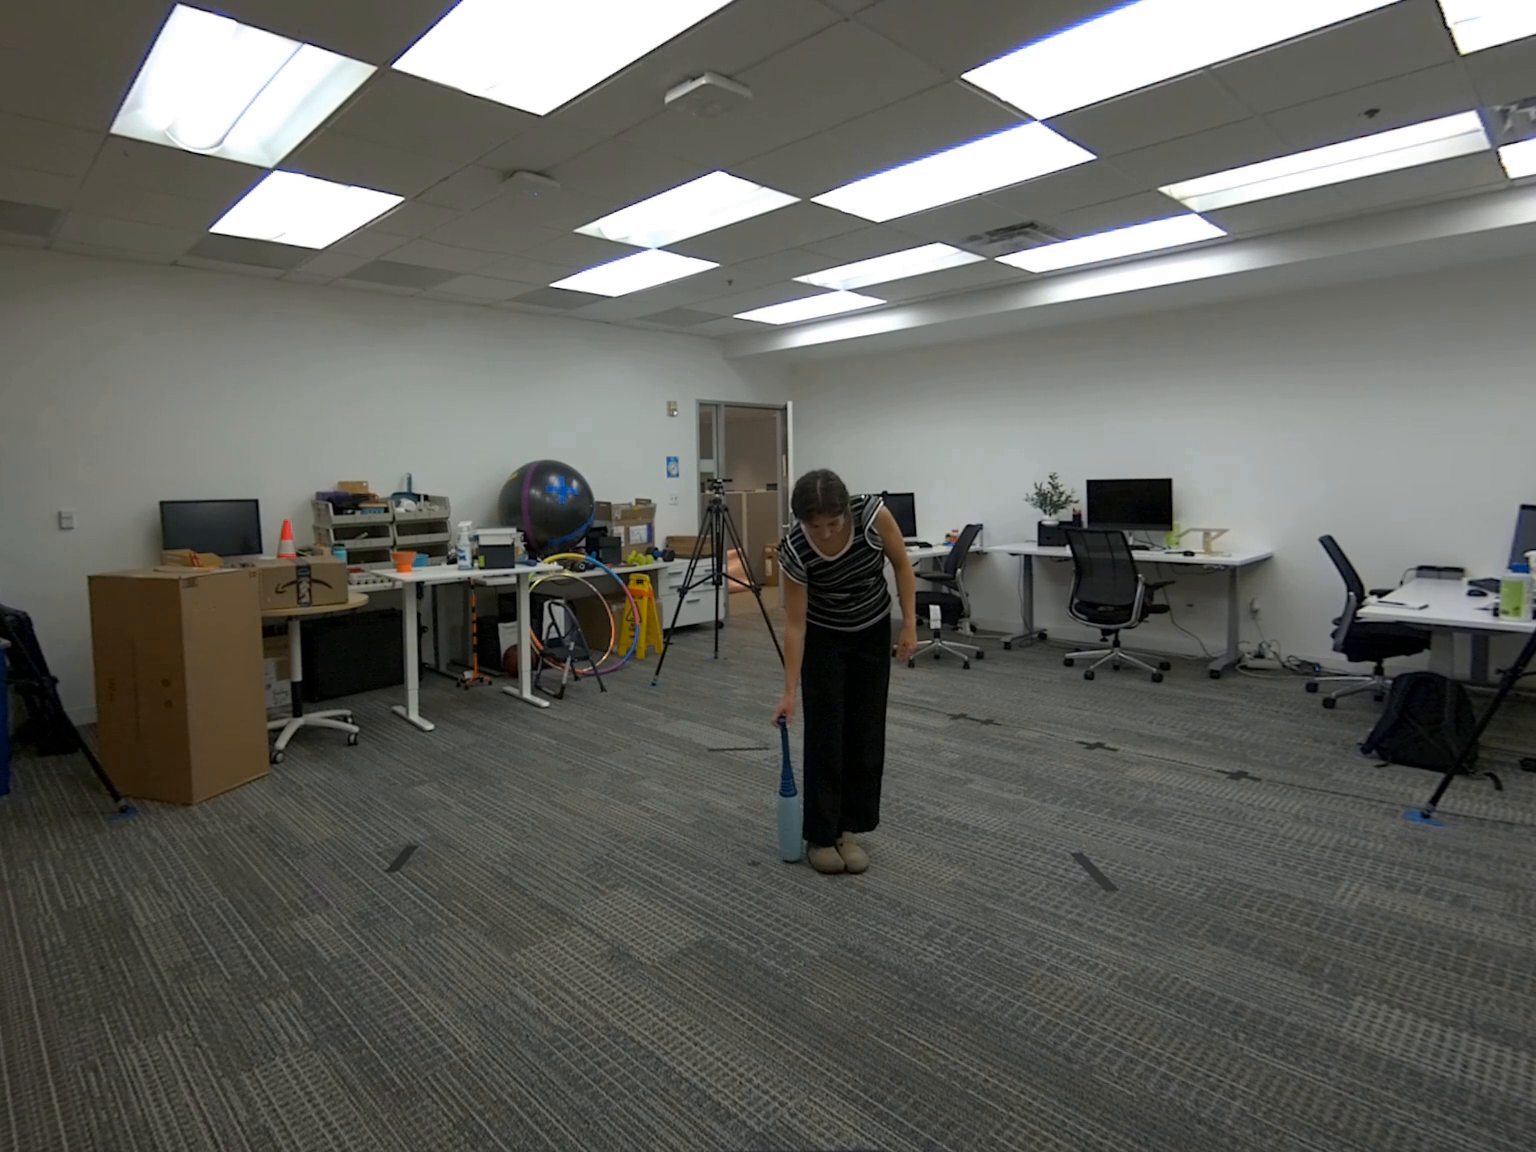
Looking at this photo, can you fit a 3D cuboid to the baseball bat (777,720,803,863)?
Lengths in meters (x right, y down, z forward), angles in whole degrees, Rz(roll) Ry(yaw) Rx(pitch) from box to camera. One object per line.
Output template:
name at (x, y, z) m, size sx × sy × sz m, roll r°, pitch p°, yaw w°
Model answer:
baseball bat at (0.078, 0.773, 3.074) m, size 0.089 × 0.537 × 0.090 m, roll -3°, pitch 11°, yaw -1°
